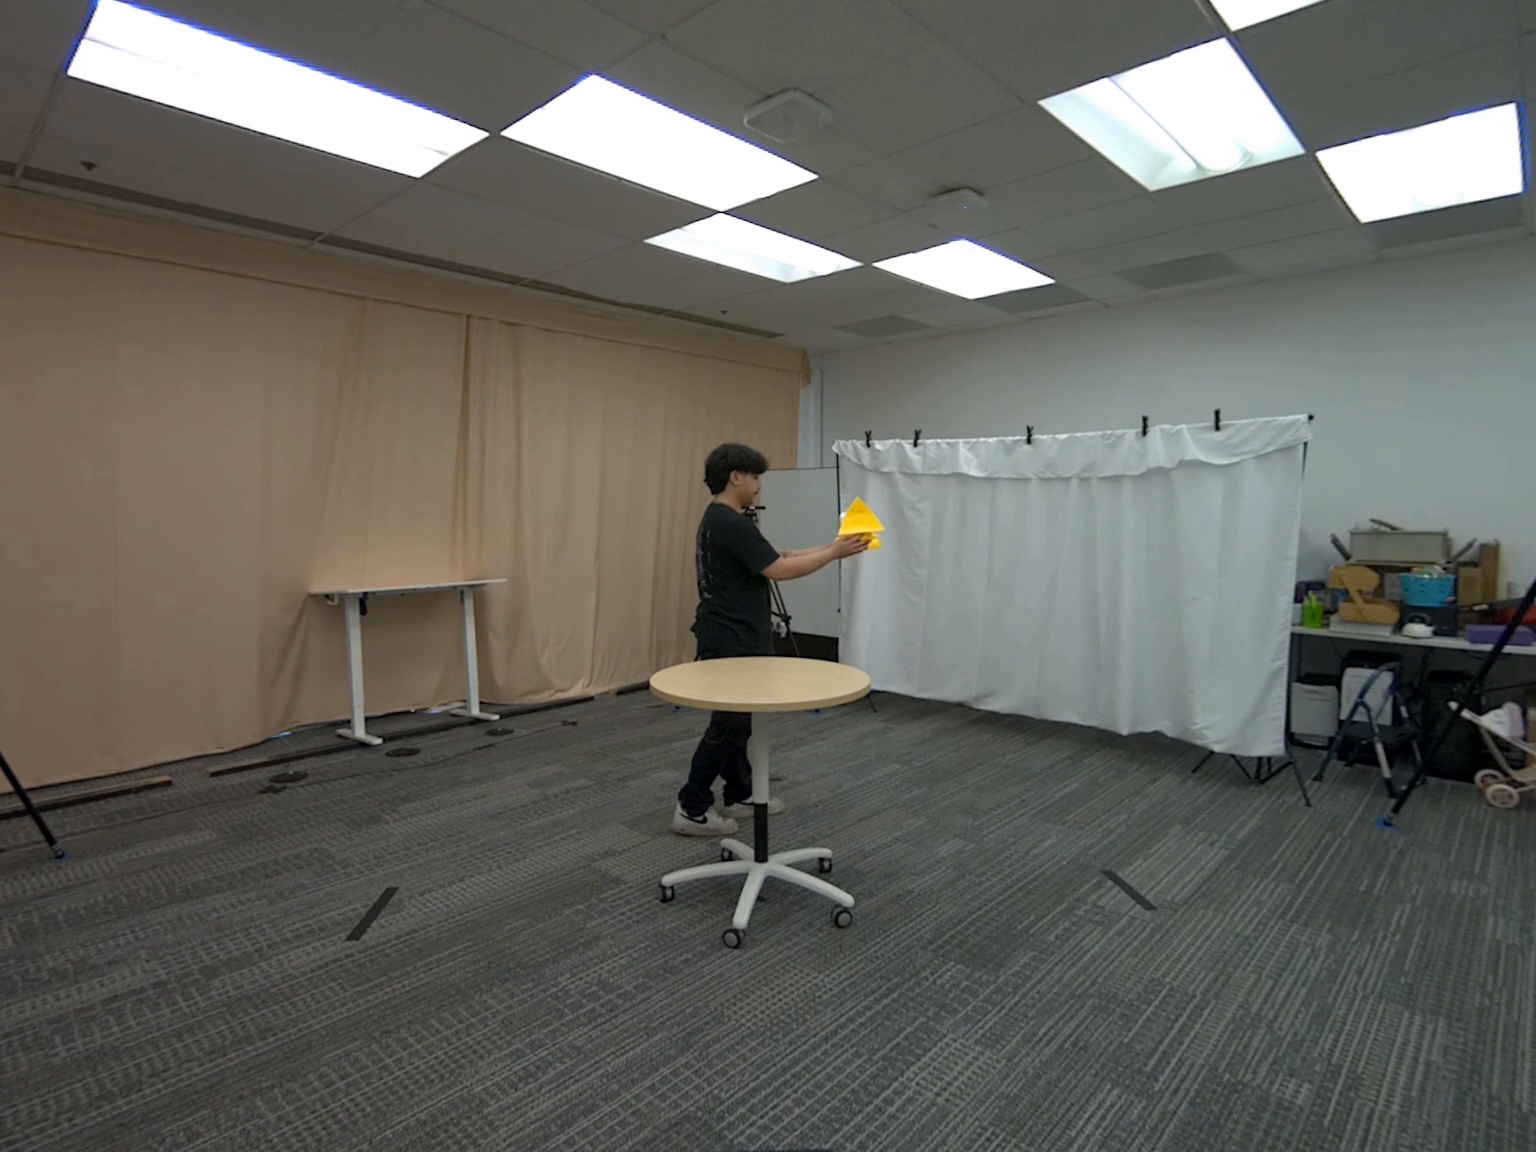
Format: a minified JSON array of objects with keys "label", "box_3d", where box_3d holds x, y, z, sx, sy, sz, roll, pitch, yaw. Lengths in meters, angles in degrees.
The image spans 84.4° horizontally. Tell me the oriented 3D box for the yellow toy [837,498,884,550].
[{"label":"yellow toy","box_3d":[0.383,-0.228,3.687,0.203,0.230,0.195,-5,4,-7]}]
